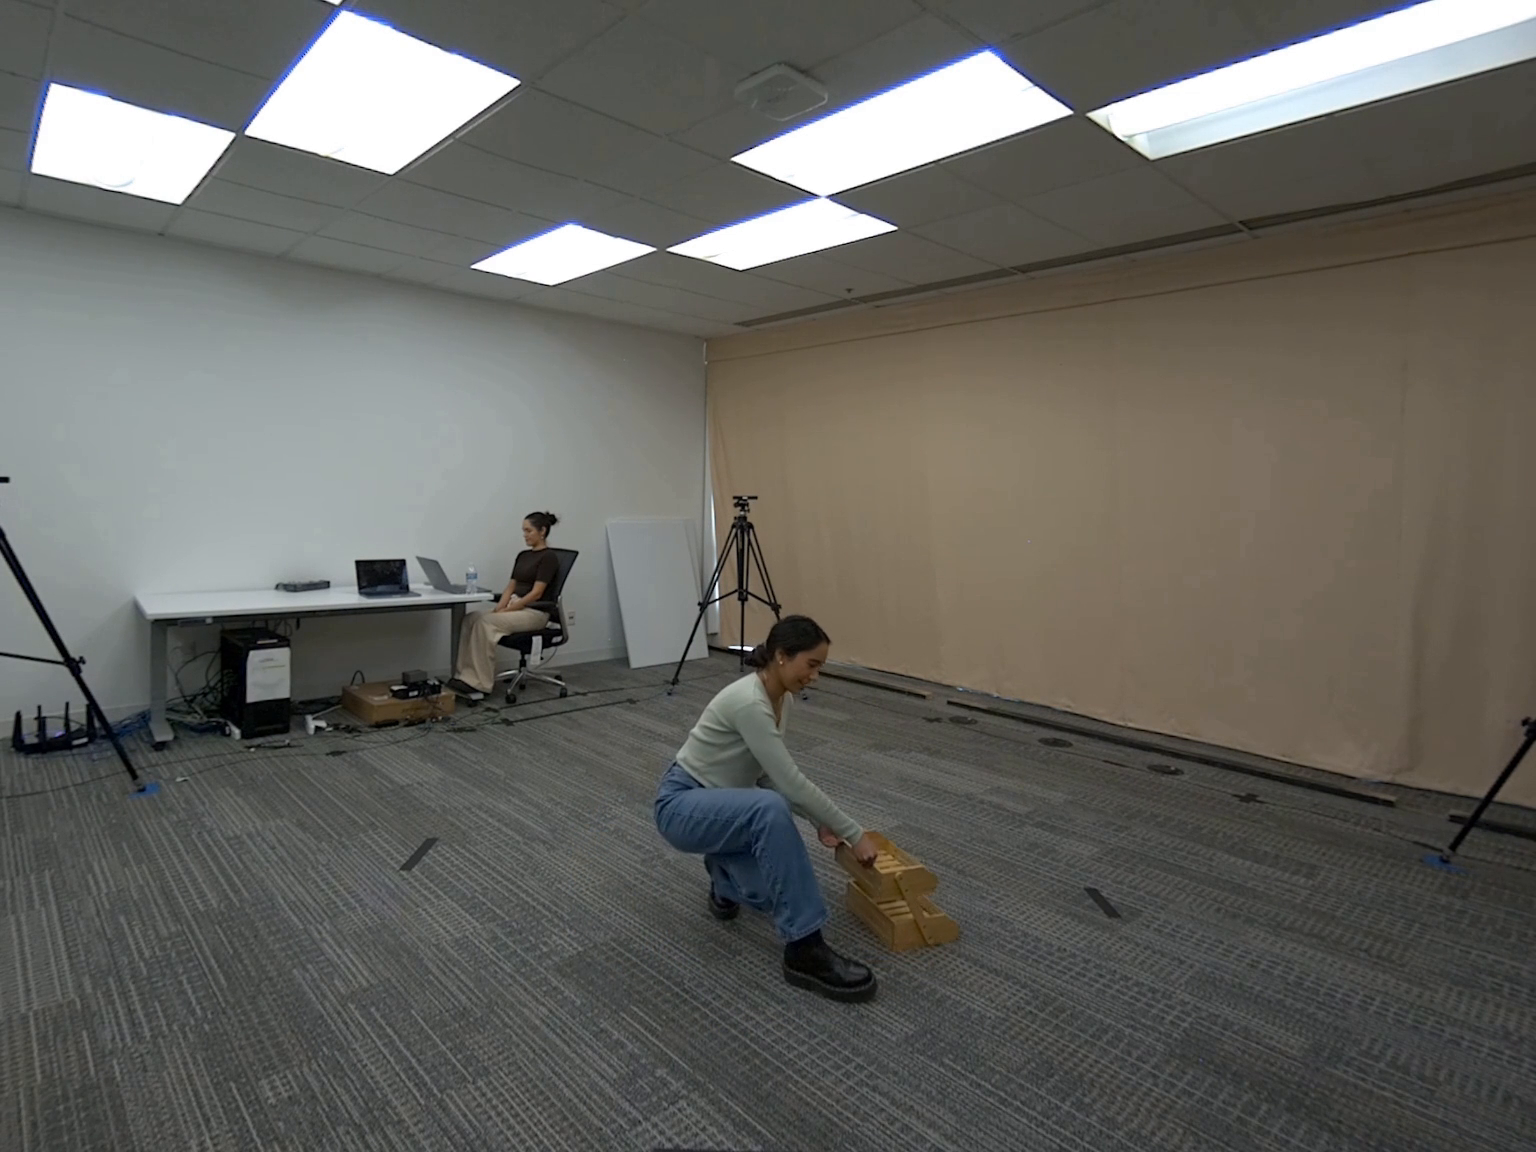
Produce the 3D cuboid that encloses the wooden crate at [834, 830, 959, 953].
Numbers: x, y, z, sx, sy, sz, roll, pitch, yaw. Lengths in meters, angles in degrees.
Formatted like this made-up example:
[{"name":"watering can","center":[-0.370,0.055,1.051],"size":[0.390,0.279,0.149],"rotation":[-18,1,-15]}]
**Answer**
[{"name":"wooden crate","center":[0.418,1.012,2.762],"size":[0.297,0.272,0.331],"rotation":[0,5,-22]}]
